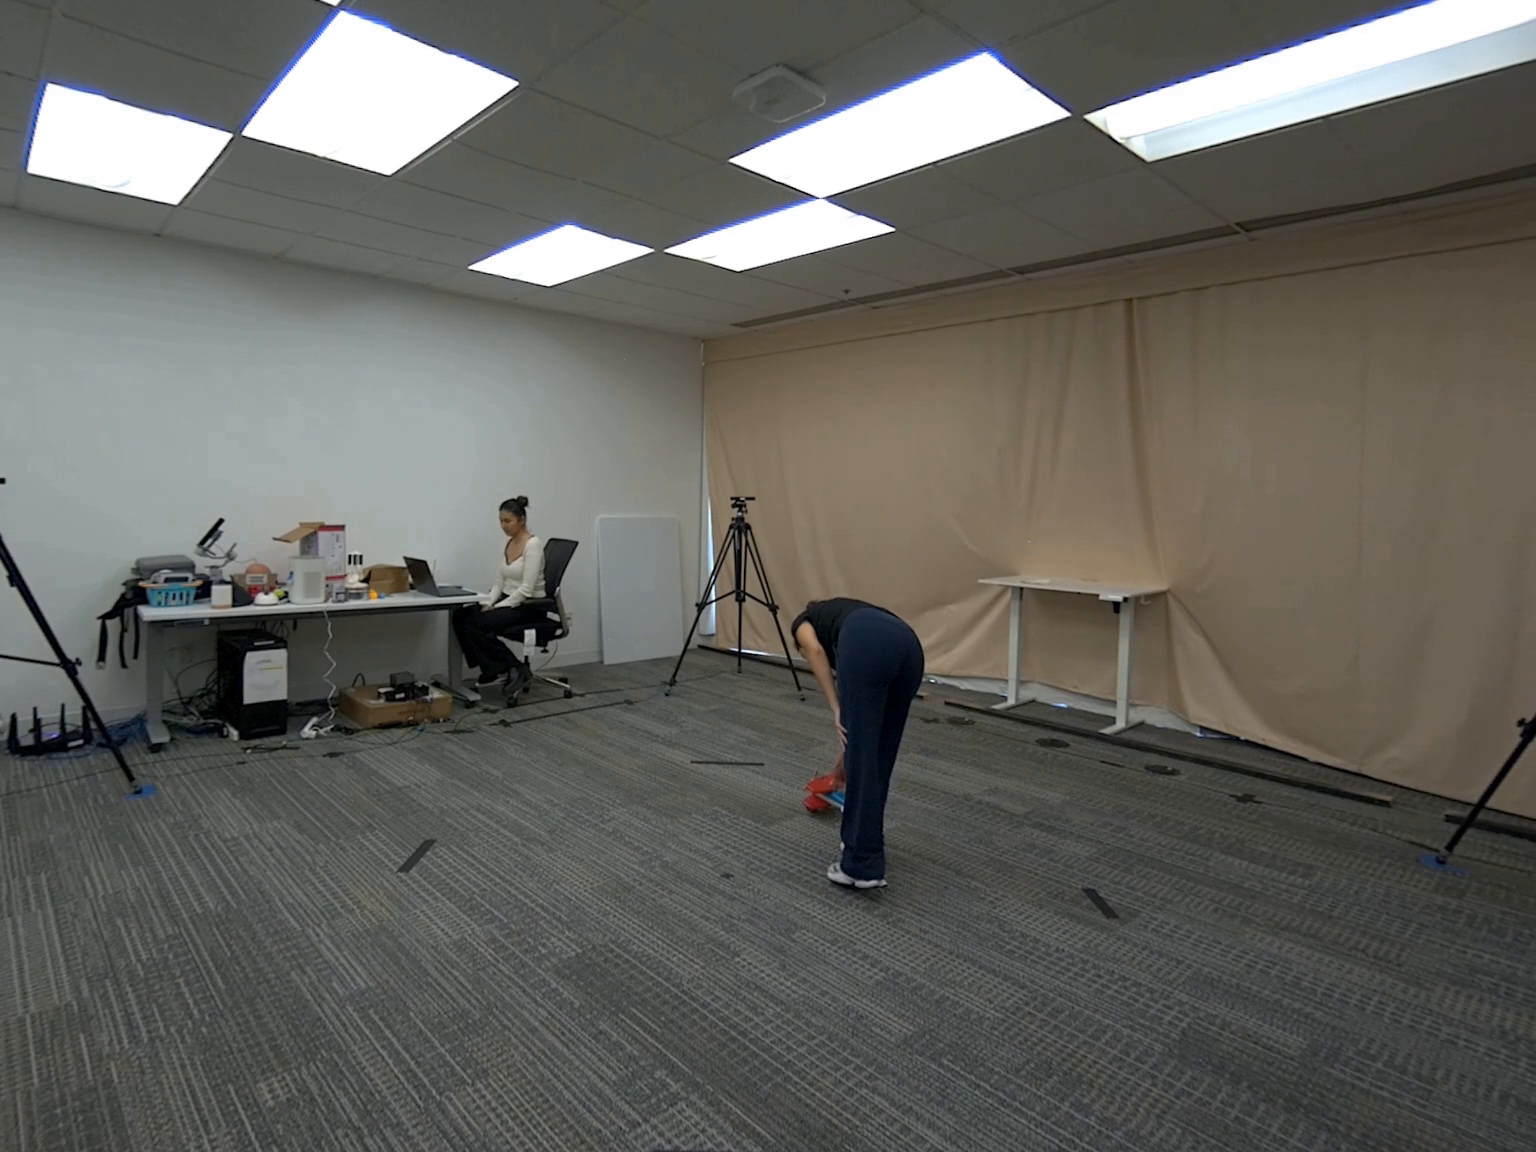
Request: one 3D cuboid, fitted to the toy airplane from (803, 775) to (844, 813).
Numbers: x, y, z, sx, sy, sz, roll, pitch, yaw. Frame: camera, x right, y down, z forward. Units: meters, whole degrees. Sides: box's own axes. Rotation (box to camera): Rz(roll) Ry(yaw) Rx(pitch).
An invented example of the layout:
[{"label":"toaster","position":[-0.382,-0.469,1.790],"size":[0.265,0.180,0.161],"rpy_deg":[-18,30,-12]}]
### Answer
[{"label":"toy airplane","position":[0.290,0.988,3.751],"size":[0.263,0.156,0.248],"rpy_deg":[0,4,16]}]
